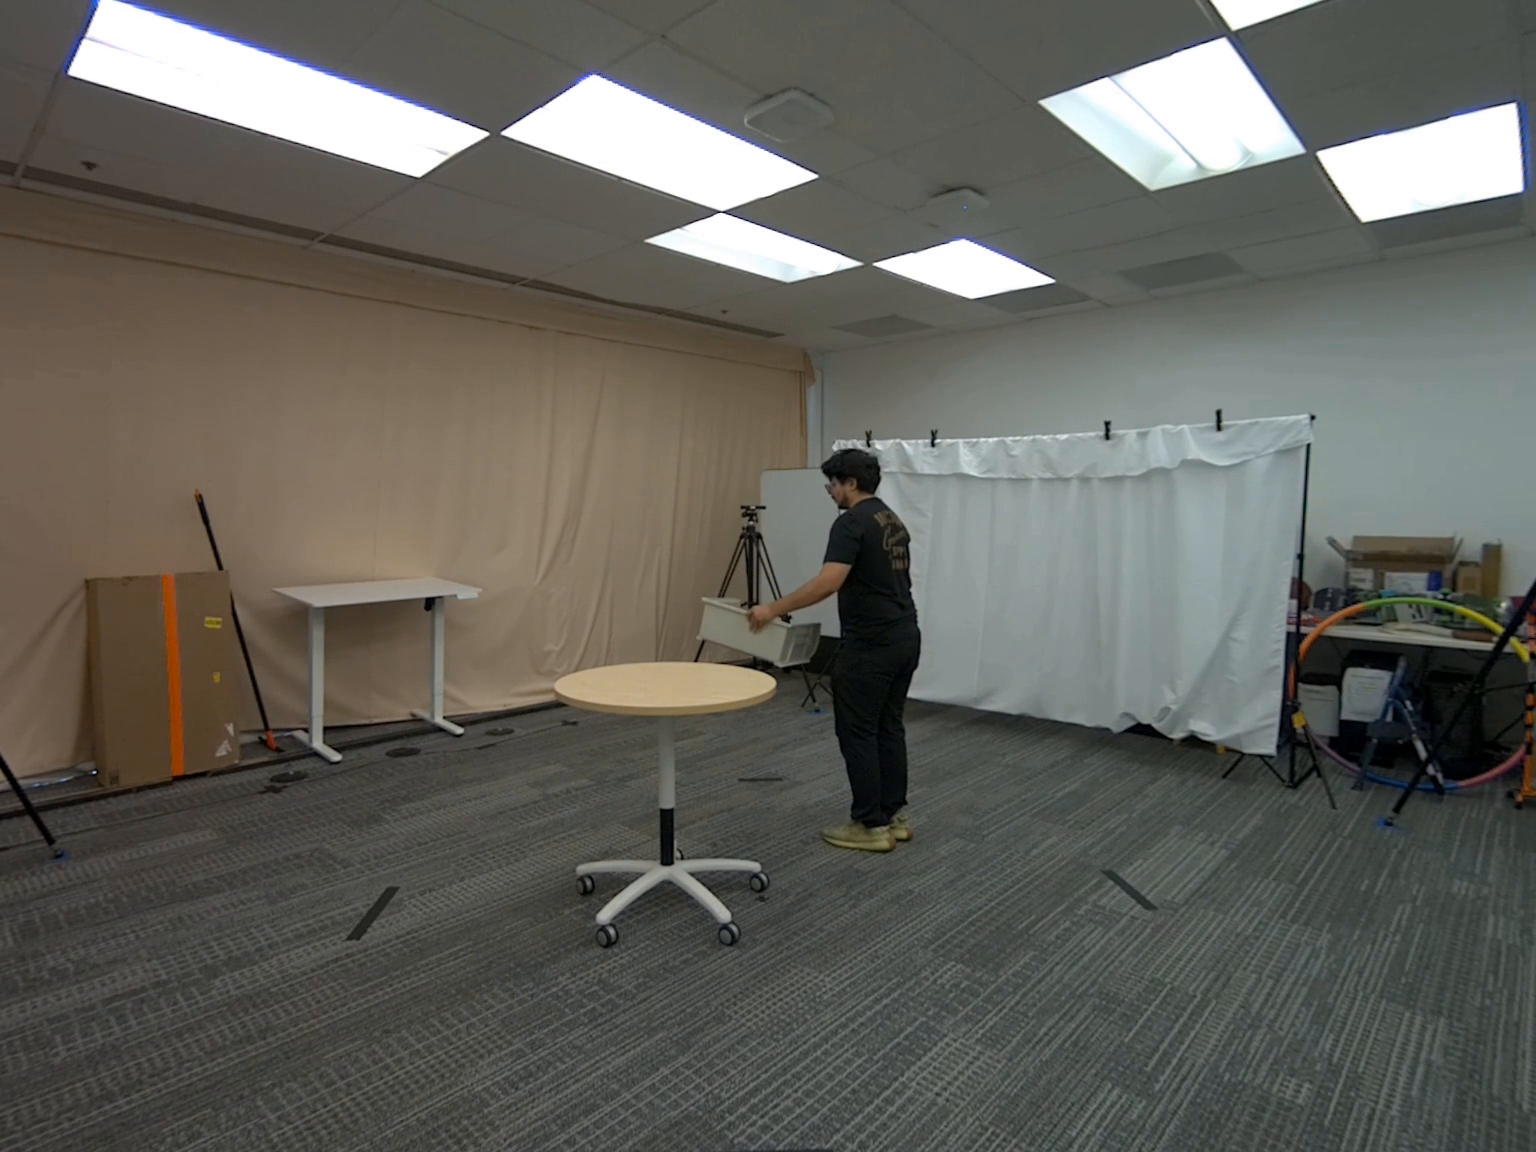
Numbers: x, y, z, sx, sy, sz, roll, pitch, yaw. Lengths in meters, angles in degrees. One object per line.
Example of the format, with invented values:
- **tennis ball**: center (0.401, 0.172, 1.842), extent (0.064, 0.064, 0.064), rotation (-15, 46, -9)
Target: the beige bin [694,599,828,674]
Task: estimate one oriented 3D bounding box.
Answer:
- **beige bin**: center (-0.027, 0.245, 3.622), extent (0.434, 0.188, 0.367), rotation (15, 6, 25)
